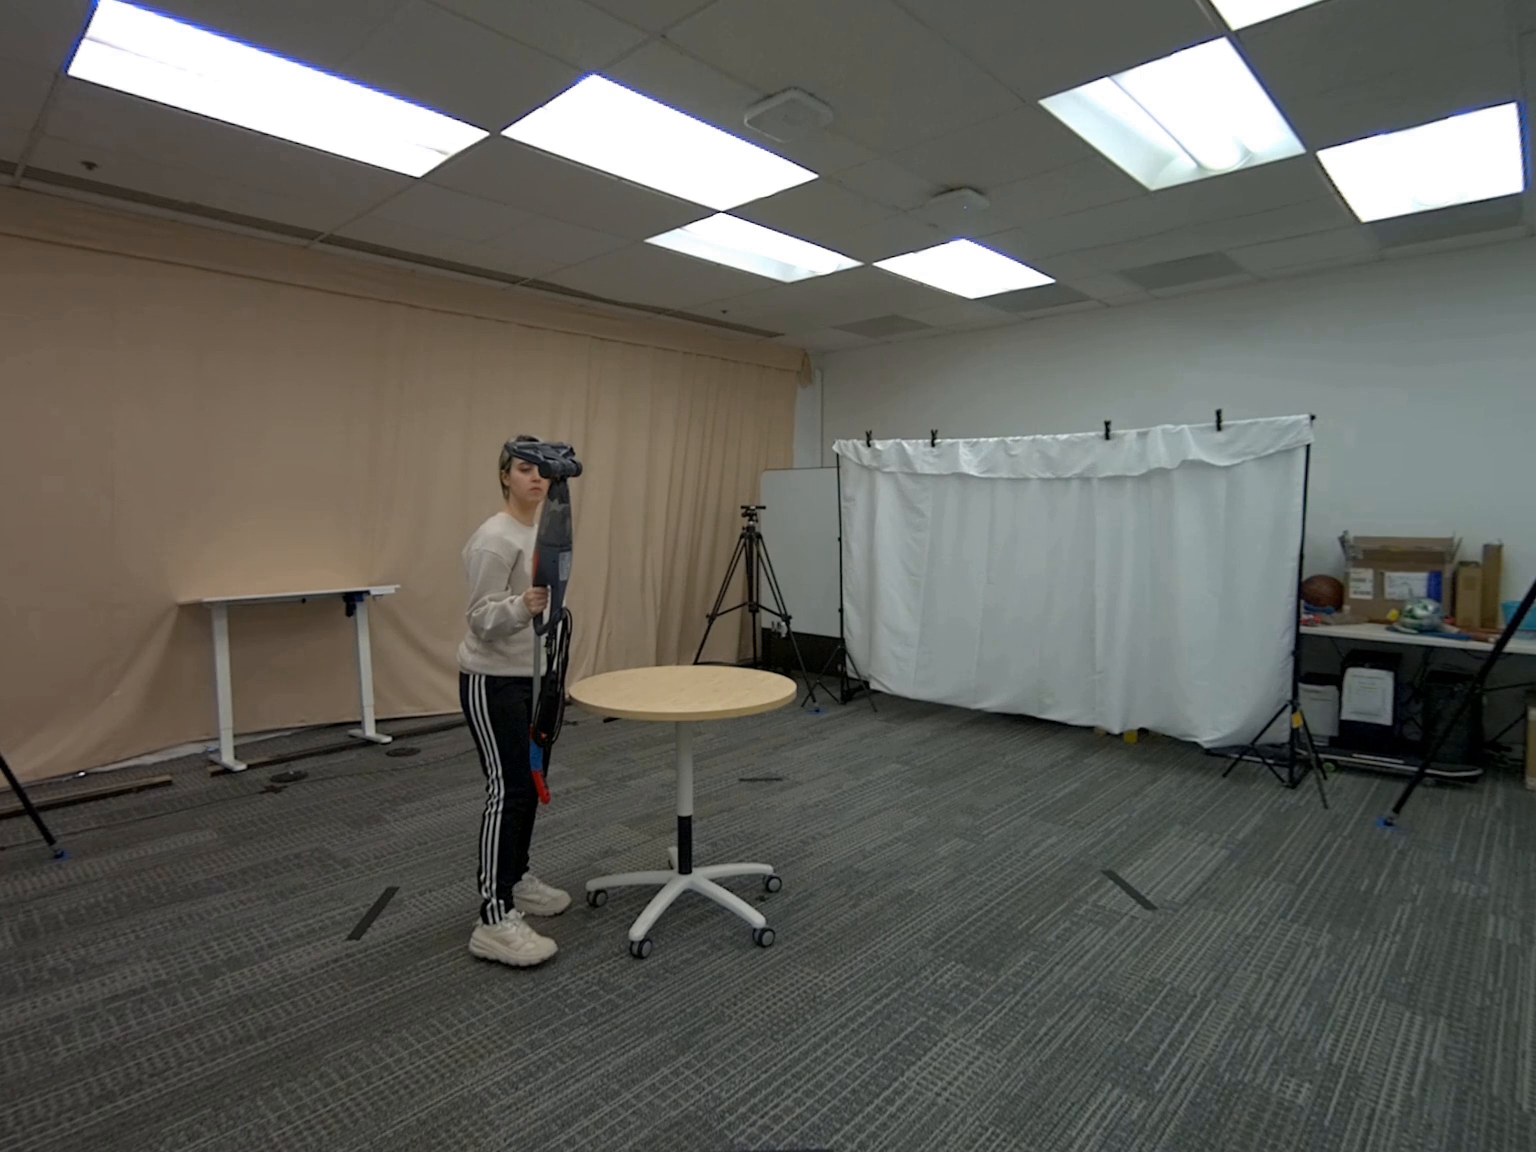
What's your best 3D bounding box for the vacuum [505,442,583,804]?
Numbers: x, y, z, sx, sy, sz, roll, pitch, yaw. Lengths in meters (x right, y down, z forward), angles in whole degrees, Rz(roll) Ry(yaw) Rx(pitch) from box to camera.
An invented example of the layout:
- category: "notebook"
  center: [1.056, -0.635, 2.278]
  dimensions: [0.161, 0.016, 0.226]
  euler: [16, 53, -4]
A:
- category: "vacuum"
  center: [-0.644, 0.163, 2.473]
  dimensions: [0.148, 1.044, 0.246]
  euler: [6, 9, 31]
